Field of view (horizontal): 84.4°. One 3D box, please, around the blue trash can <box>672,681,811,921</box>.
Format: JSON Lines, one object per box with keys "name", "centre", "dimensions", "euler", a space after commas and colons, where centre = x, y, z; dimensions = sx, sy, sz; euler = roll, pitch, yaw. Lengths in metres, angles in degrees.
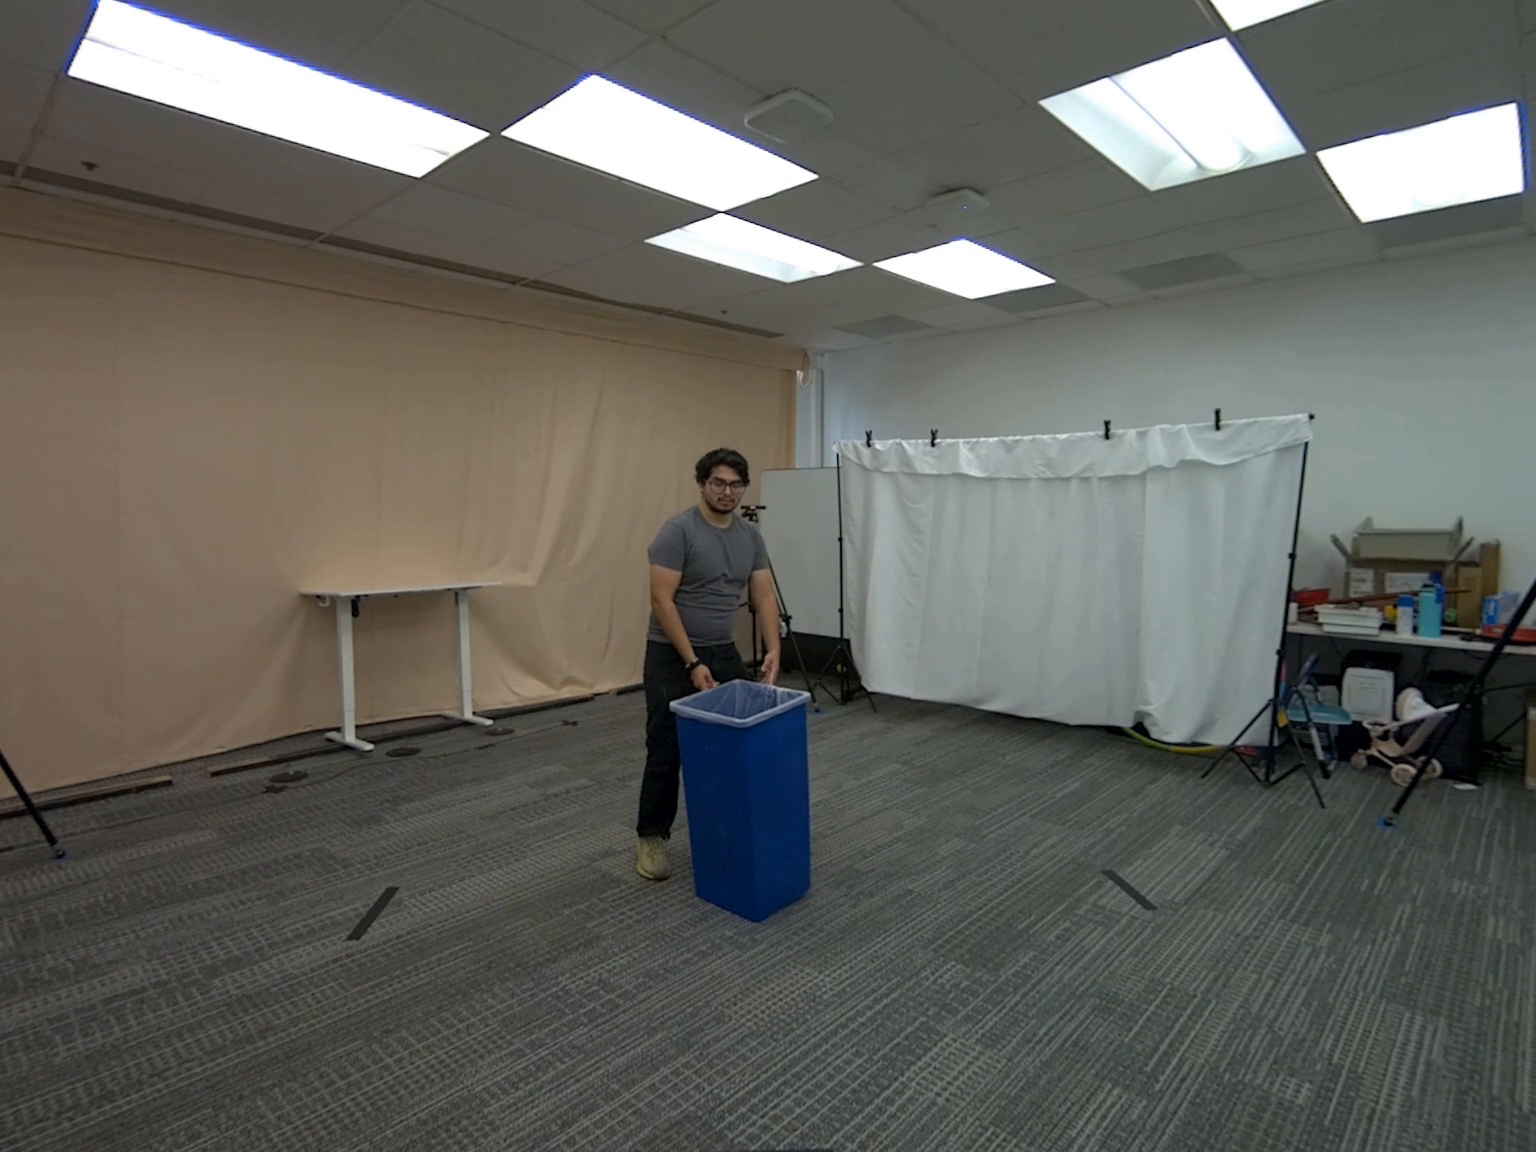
{"name": "blue trash can", "centre": [-0.064, 0.780, 2.969], "dimensions": [0.386, 0.710, 0.368], "euler": [1, 9, 41]}
